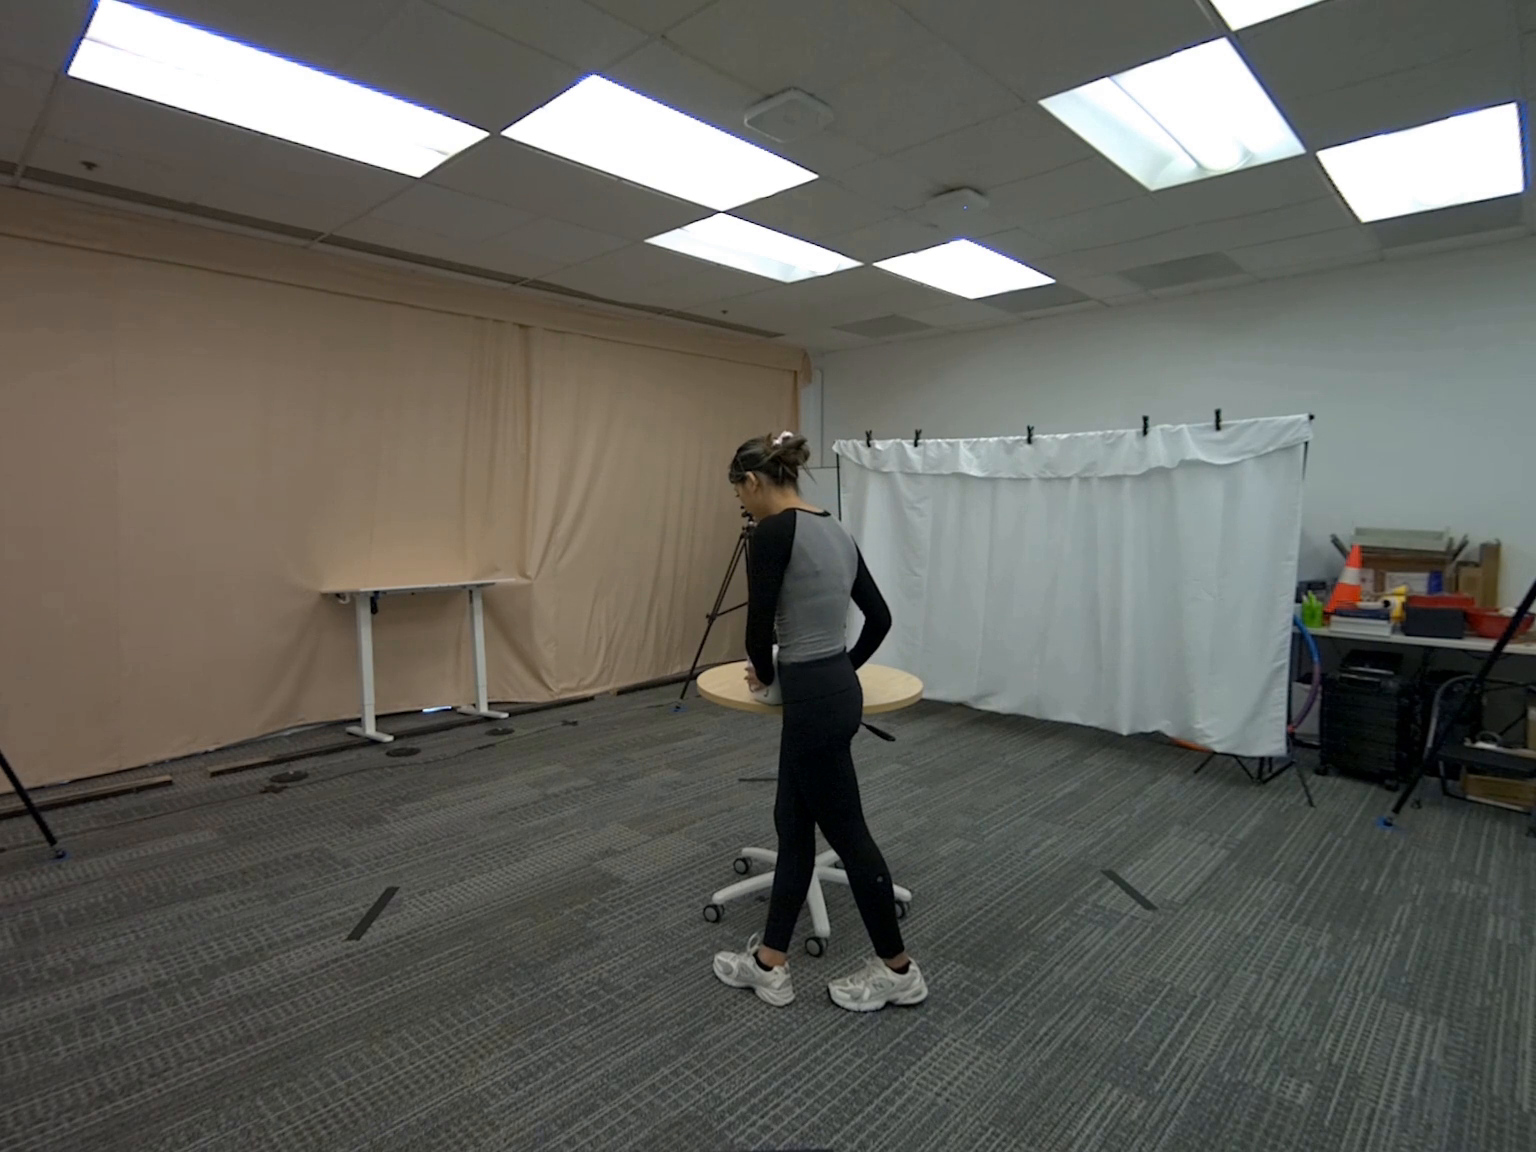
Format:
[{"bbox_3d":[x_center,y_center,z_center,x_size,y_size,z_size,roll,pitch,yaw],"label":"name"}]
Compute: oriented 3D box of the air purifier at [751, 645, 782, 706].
[{"bbox_3d":[0.081,0.298,2.616,0.259,0.171,0.176,-2,4,-27],"label":"air purifier"}]
